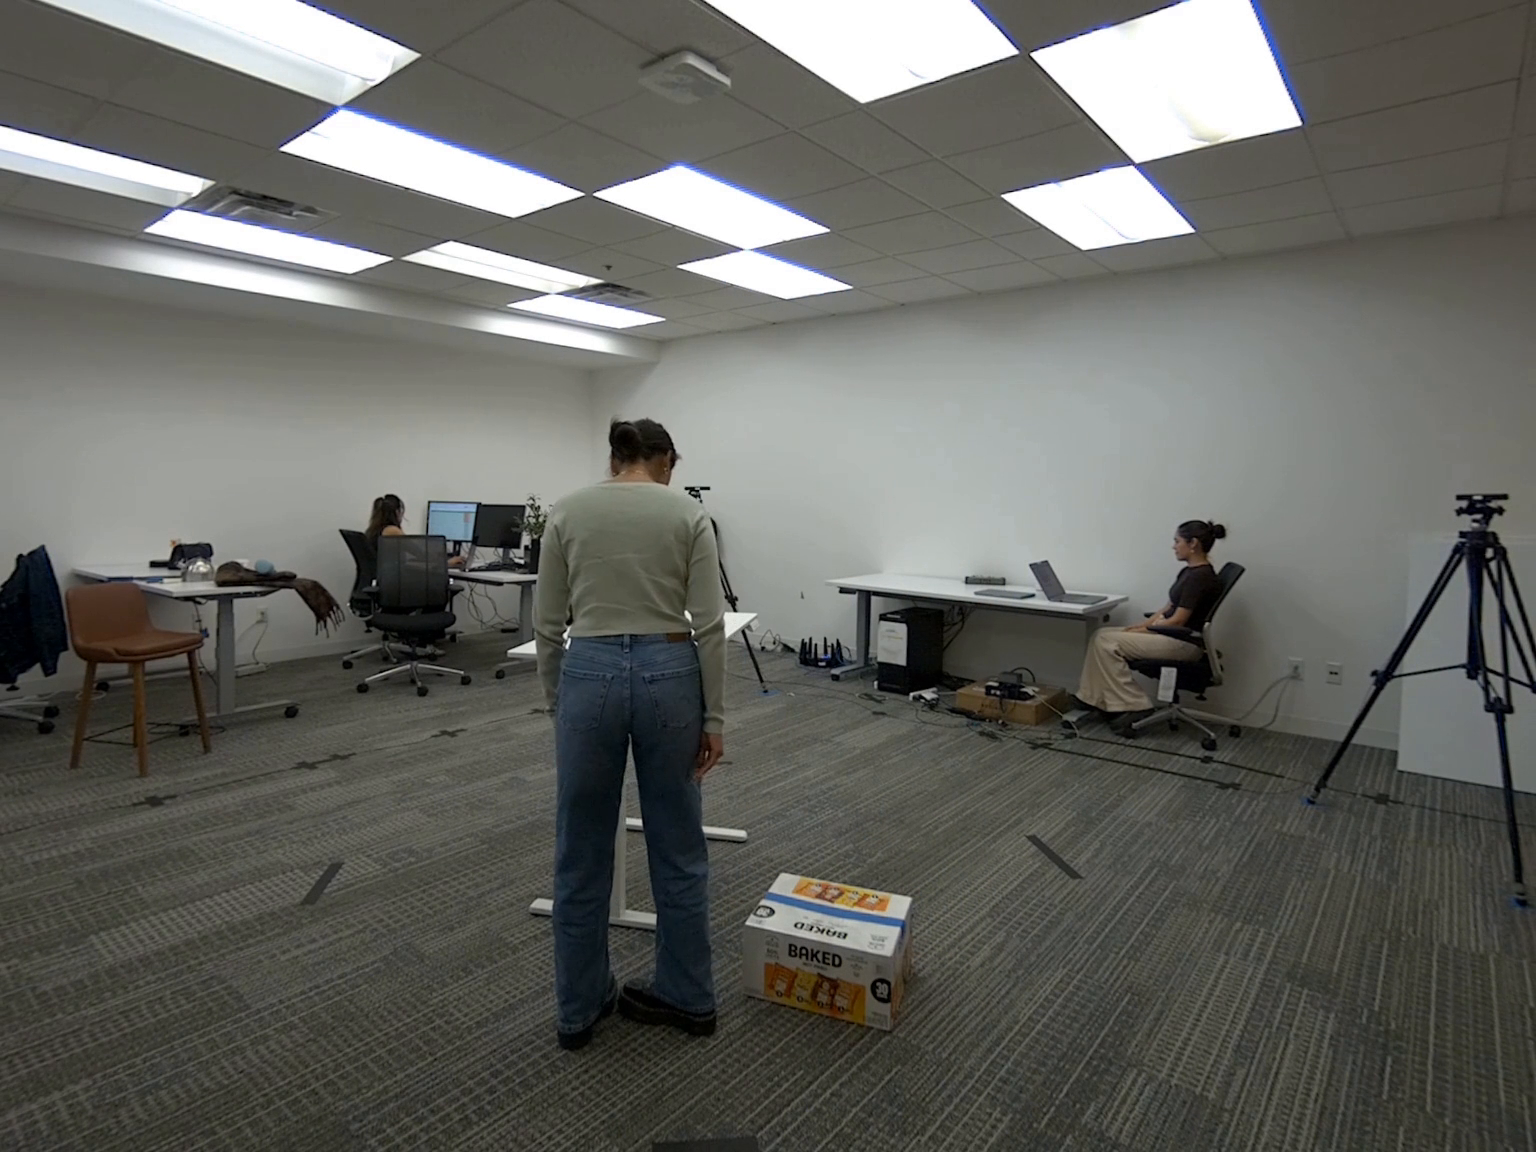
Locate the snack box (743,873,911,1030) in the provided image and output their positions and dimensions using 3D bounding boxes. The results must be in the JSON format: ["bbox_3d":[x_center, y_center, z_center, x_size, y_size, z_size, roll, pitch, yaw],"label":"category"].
[{"bbox_3d":[0.171,1.041,2.400,0.414,0.205,0.334,3,5,20],"label":"snack box"}]
